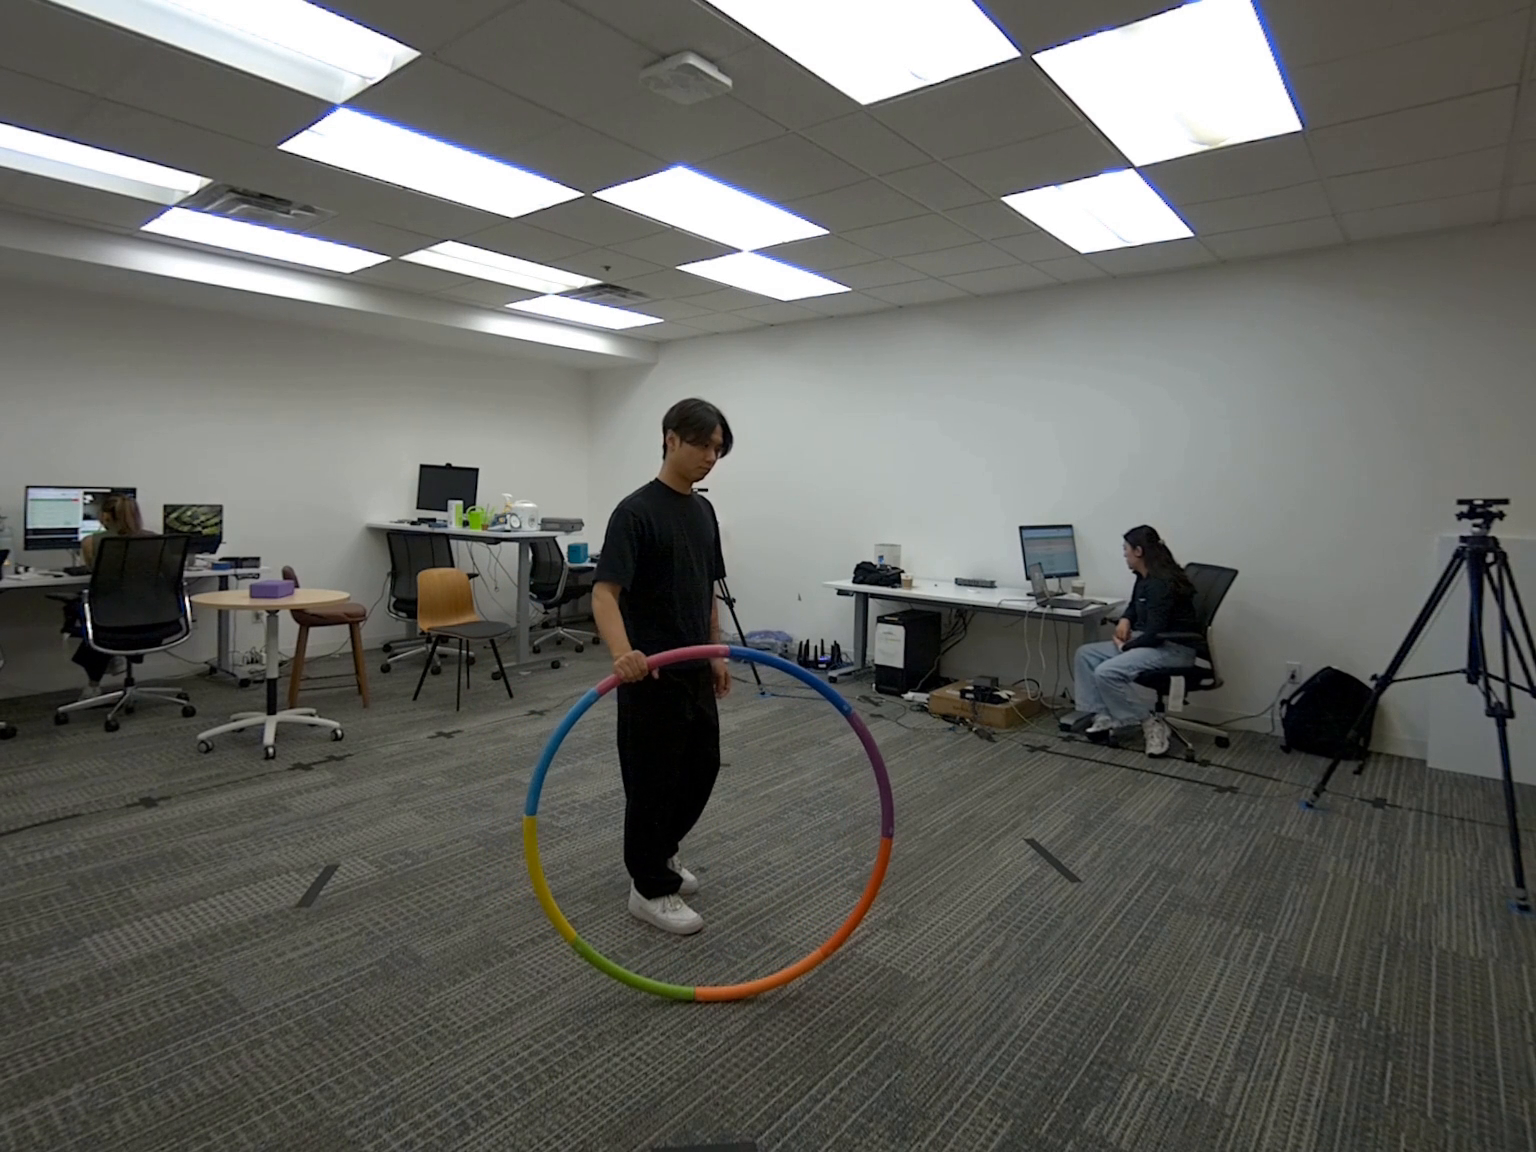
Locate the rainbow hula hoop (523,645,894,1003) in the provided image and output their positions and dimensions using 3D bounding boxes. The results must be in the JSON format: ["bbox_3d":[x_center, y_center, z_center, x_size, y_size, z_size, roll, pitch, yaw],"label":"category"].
[{"bbox_3d":[-0.153,0.671,2.287,0.973,0.976,0.036,1,2,-5],"label":"rainbow hula hoop"}]
